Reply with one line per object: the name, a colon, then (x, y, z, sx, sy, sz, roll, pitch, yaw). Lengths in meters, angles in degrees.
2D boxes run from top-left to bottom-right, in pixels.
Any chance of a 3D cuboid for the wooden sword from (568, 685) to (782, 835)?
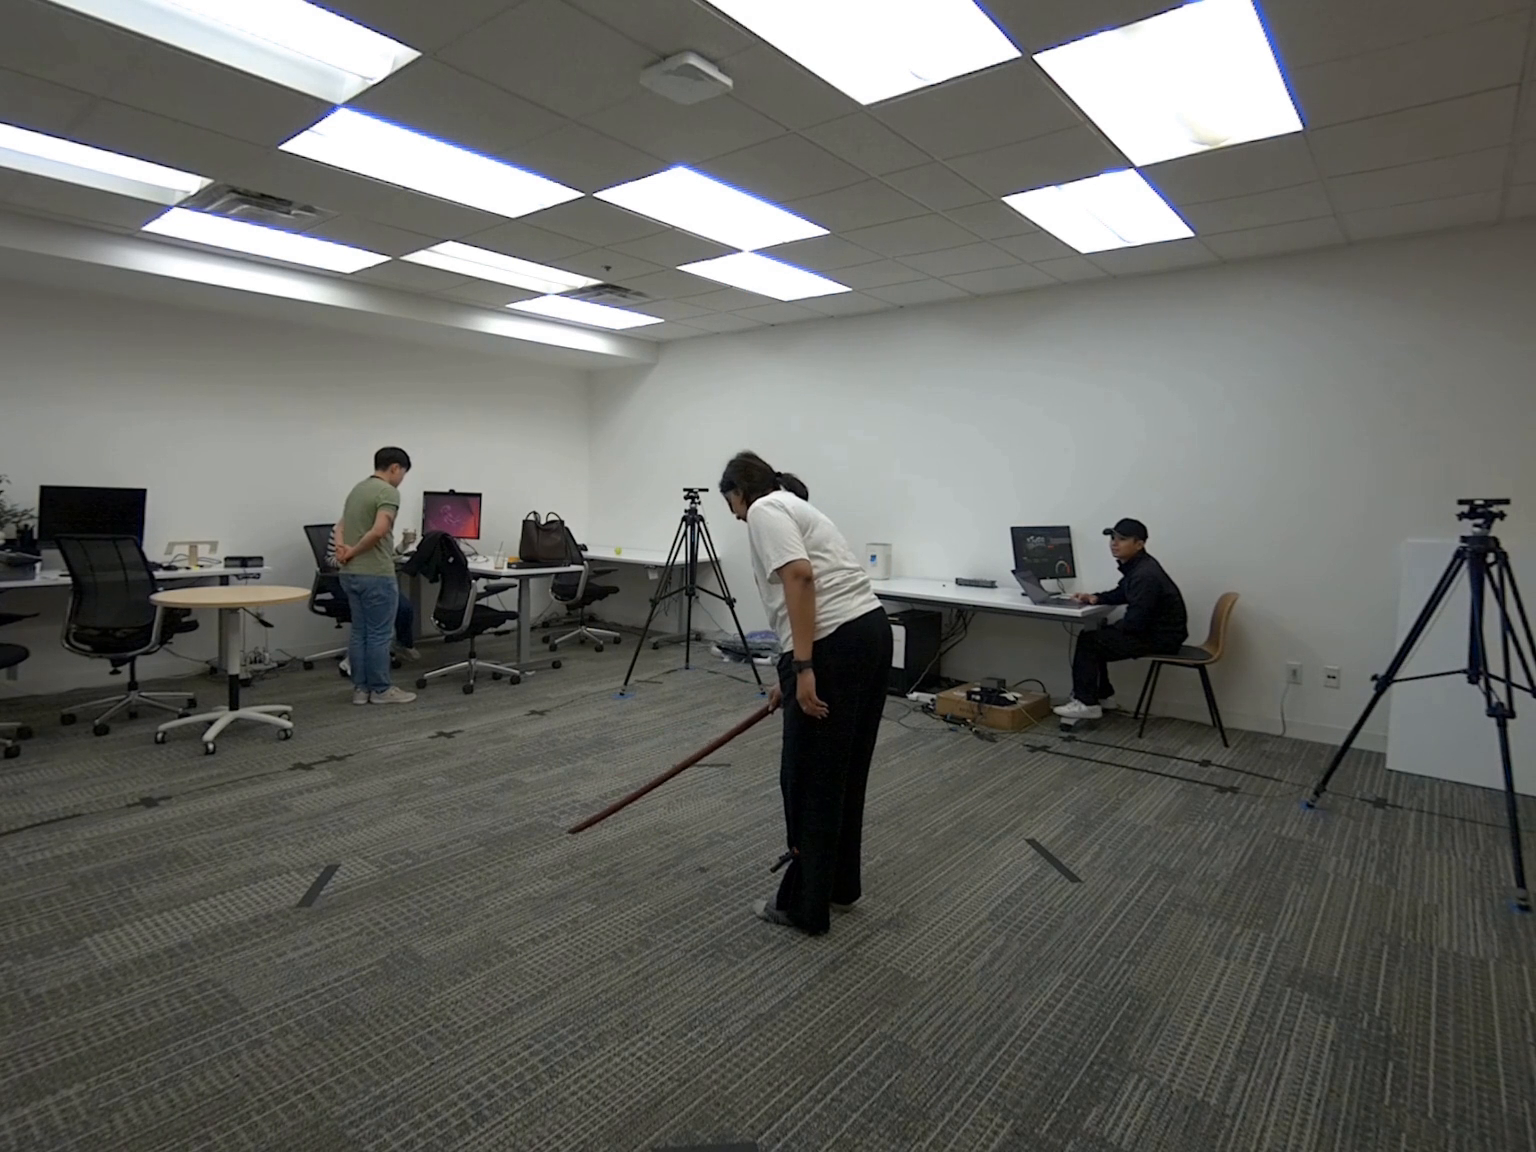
wooden sword: (-0.344, 0.698, 3.173, 1.027, 0.053, 0.023, -35, -36, 6)
